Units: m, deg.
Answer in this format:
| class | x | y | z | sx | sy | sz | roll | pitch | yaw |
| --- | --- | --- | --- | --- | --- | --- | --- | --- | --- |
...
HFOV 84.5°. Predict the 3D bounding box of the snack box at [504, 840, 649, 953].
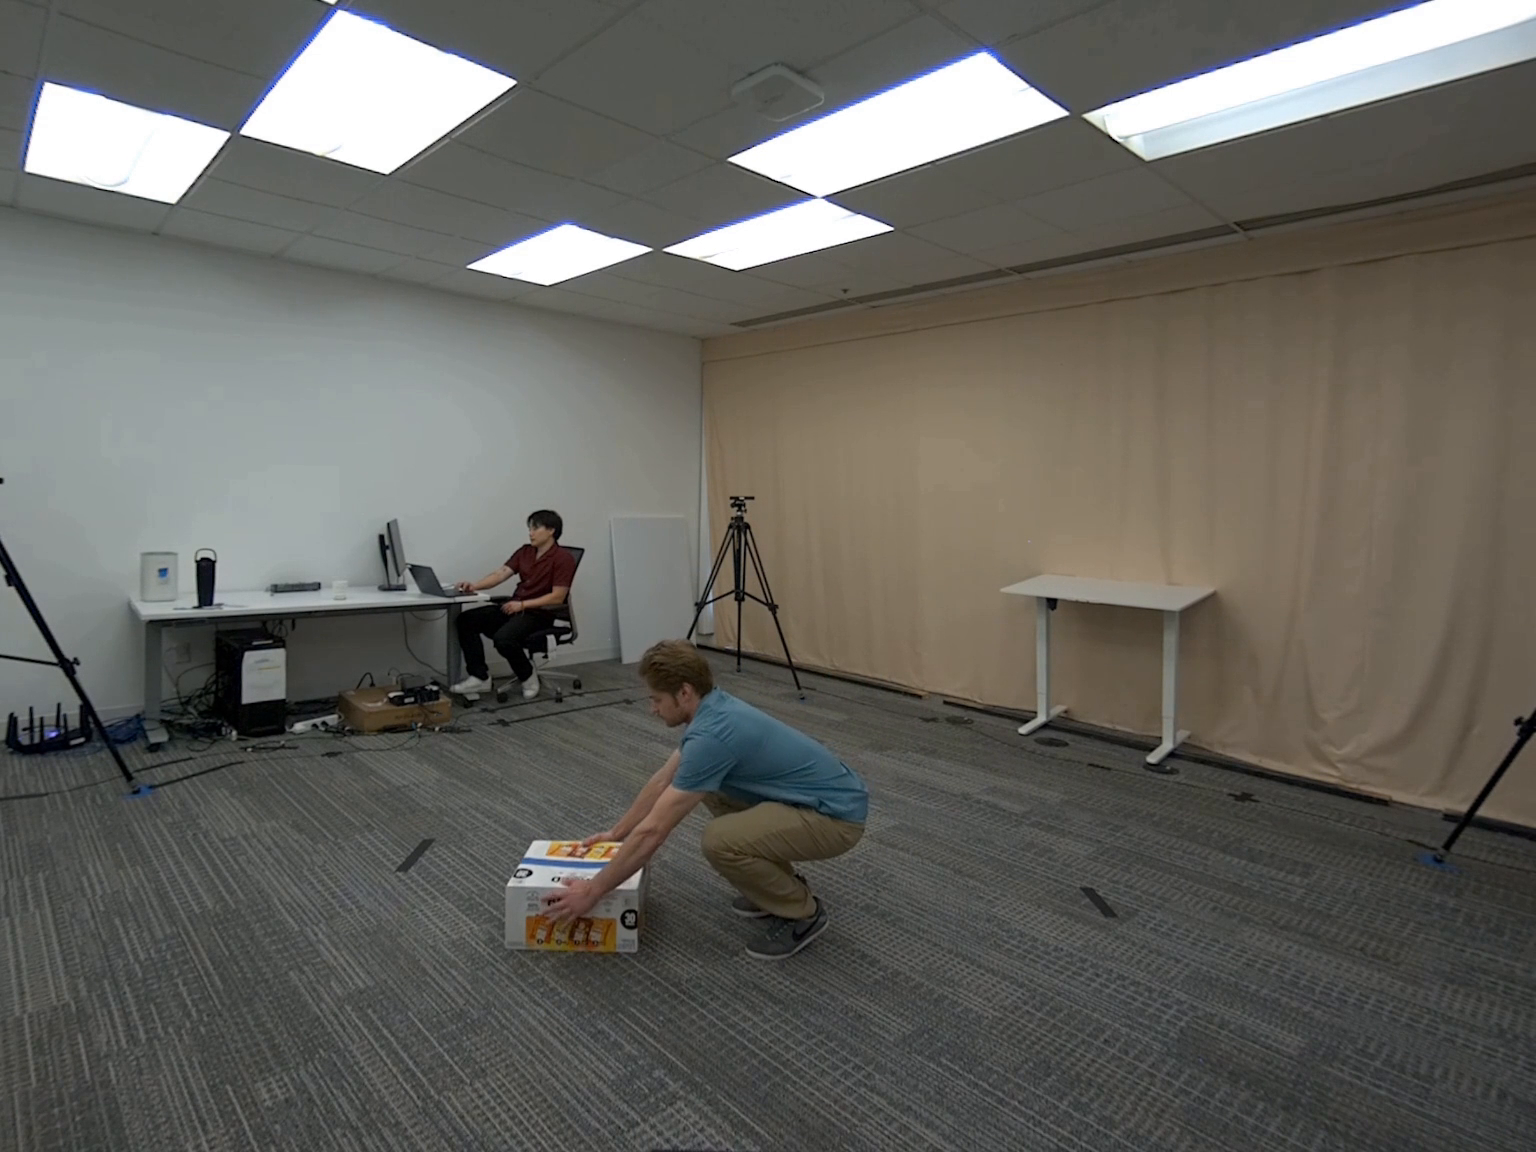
| class | x | y | z | sx | sy | sz | roll | pitch | yaw |
| --- | --- | --- | --- | --- | --- | --- | --- | --- | --- |
| snack box | -0.611 | 1.019 | 2.725 | 0.405 | 0.205 | 0.341 | 1 | 4 | -1 |
